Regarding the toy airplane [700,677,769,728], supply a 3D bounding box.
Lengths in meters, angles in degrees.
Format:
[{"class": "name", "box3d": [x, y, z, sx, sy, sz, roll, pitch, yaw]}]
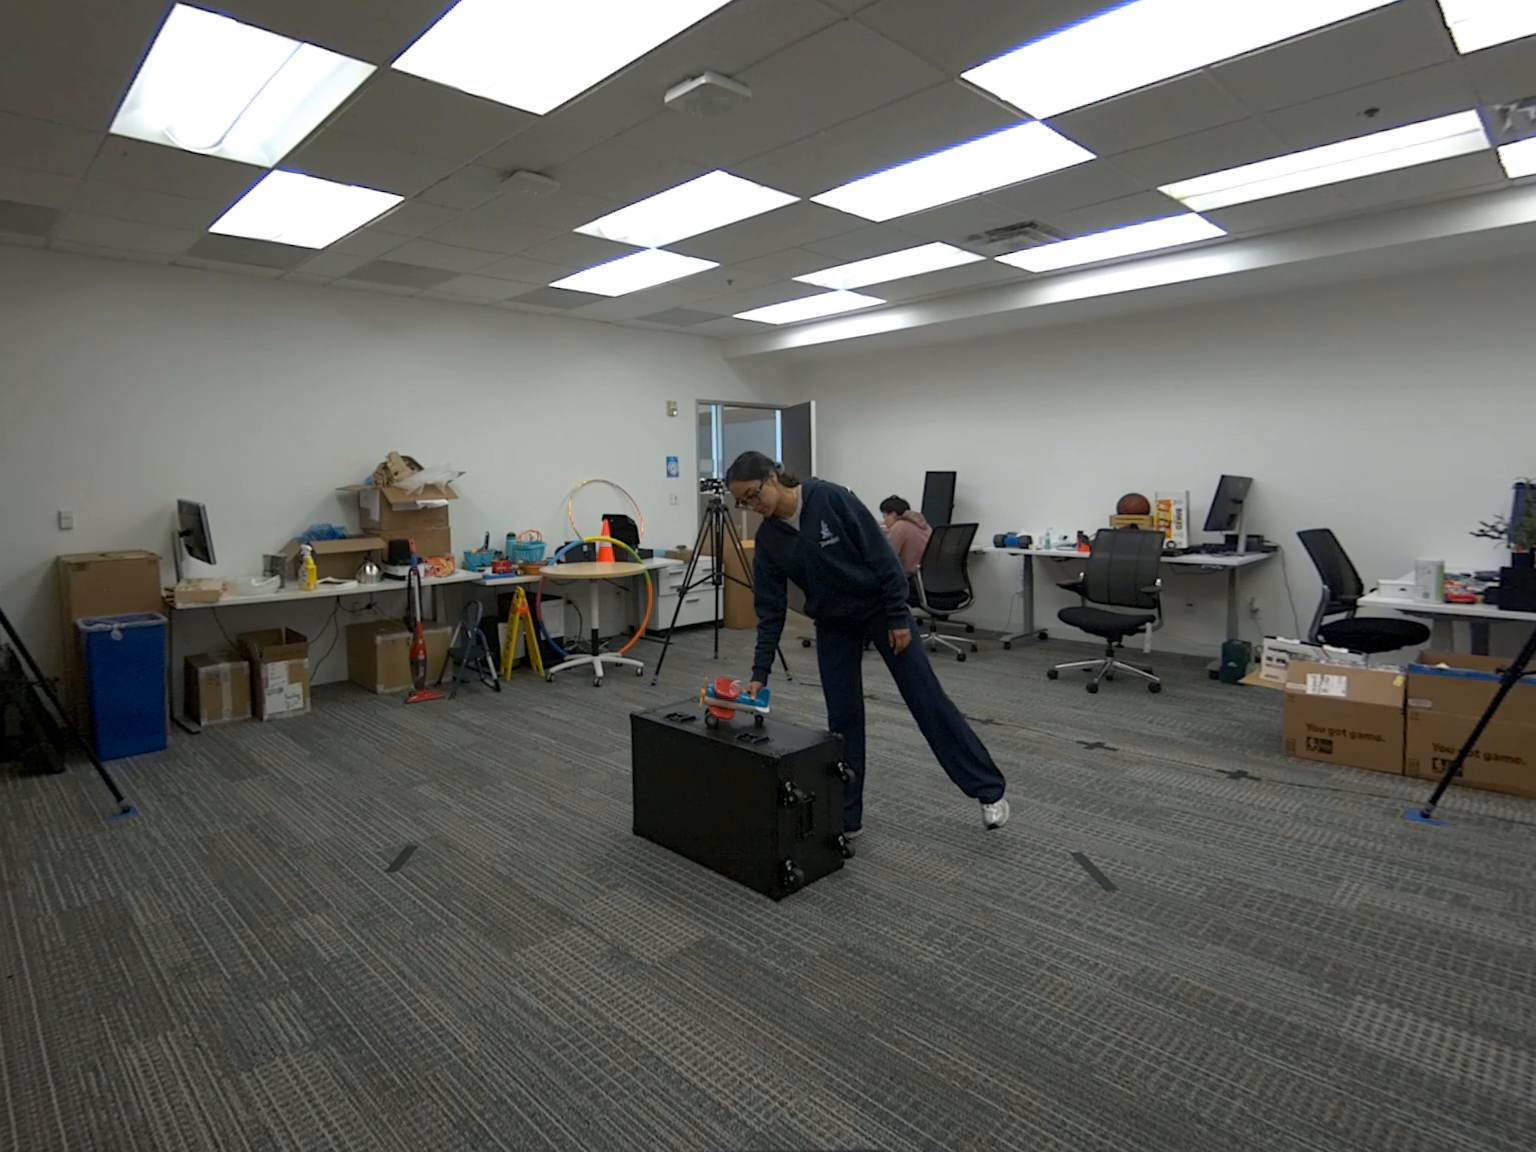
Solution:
[{"class": "toy airplane", "box3d": [-0.130, 0.473, 3.210, 0.254, 0.156, 0.257, -4, 6, -27]}]
